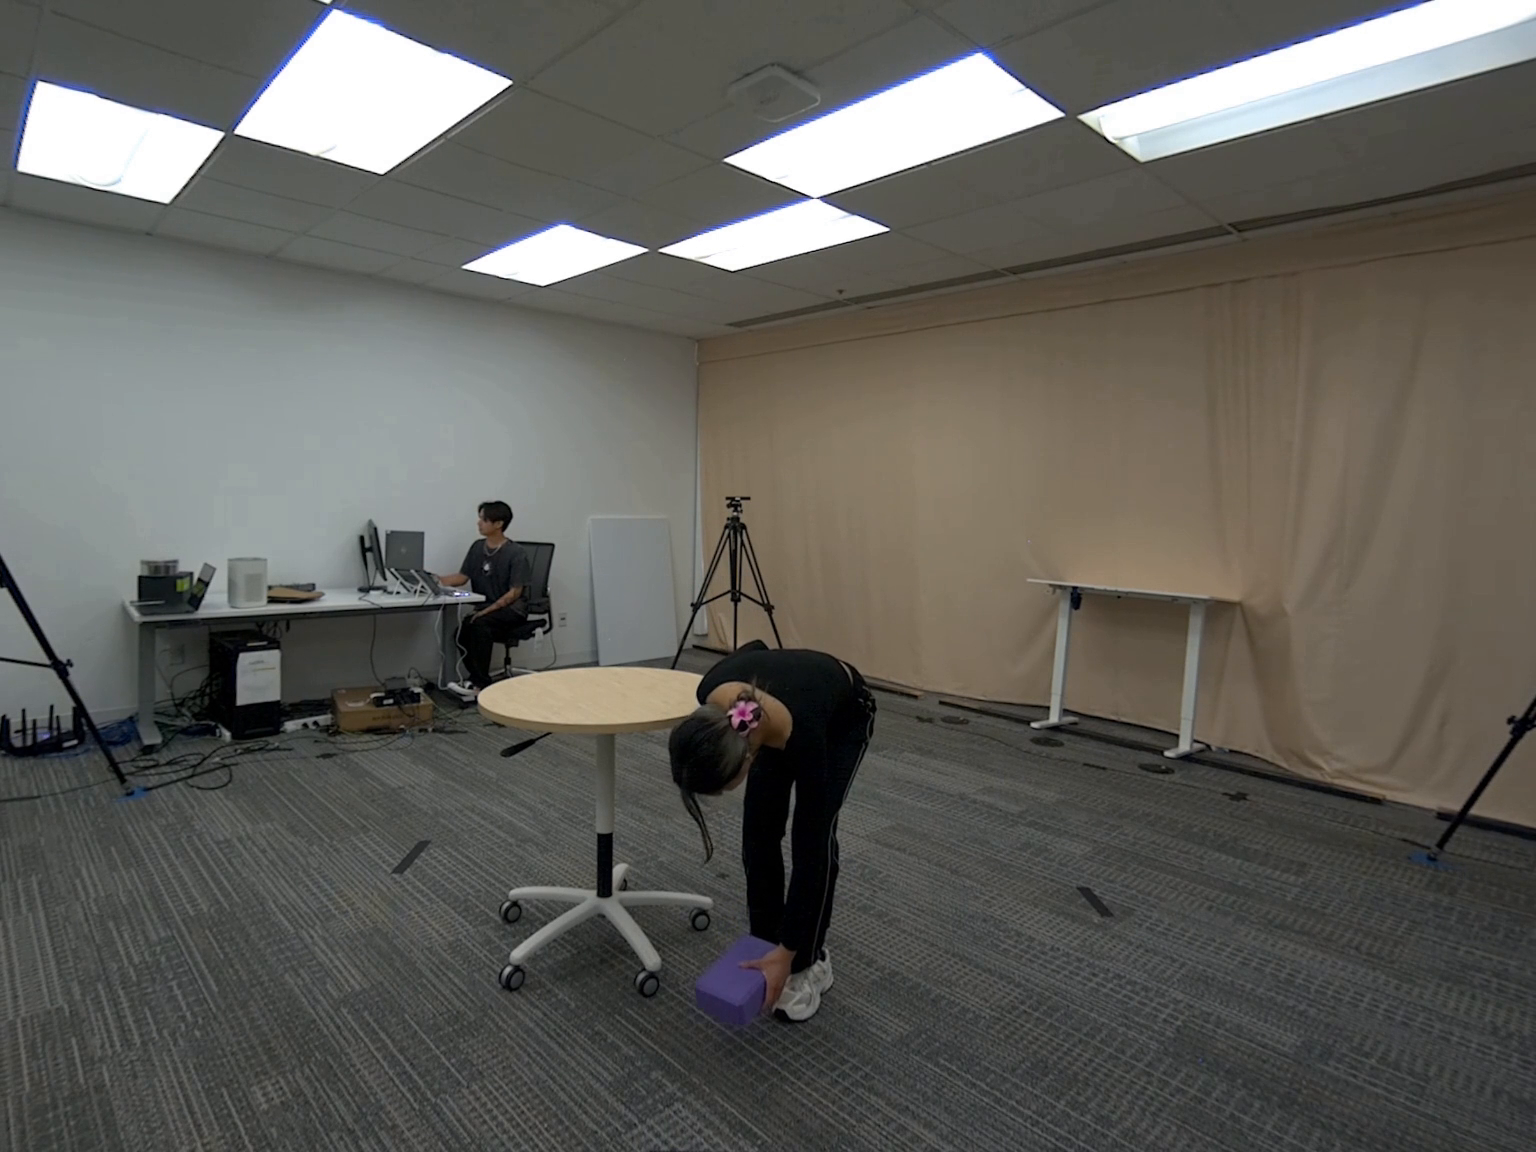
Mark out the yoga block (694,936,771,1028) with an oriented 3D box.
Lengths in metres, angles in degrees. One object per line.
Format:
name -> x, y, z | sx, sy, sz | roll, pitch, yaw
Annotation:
yoga block -> -0.070, 1.013, 2.112 | 0.152, 0.076, 0.226 | 3, 14, 32
